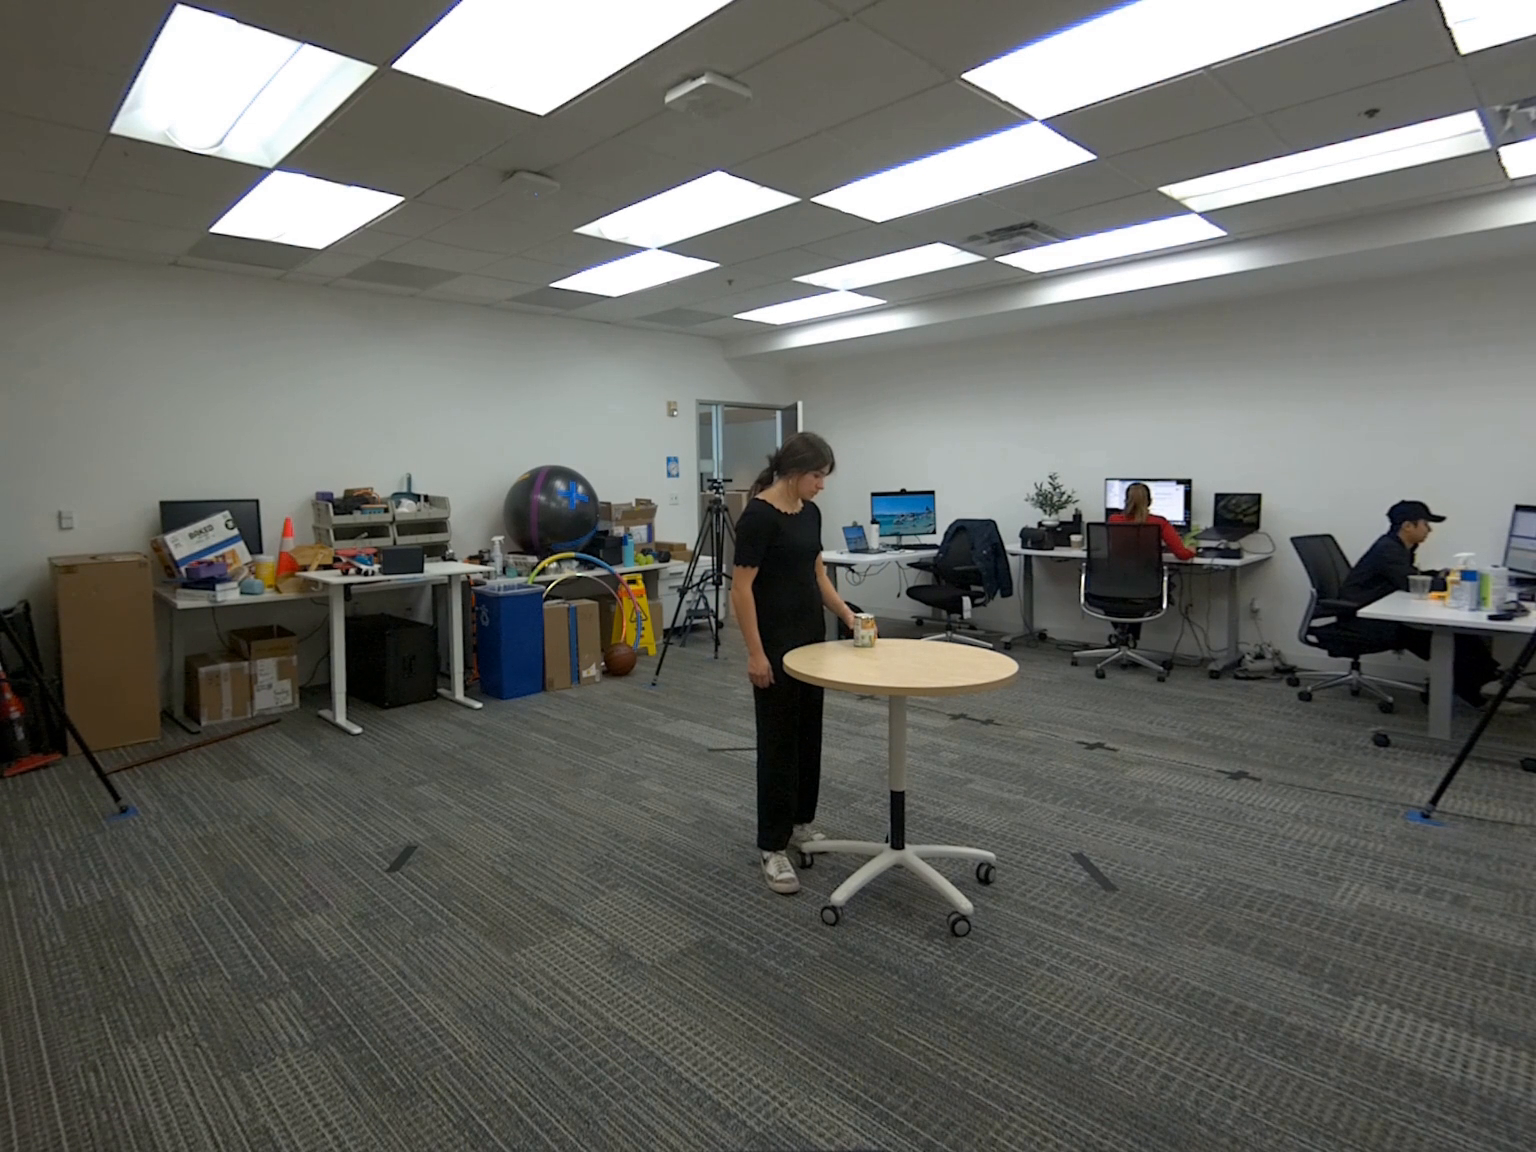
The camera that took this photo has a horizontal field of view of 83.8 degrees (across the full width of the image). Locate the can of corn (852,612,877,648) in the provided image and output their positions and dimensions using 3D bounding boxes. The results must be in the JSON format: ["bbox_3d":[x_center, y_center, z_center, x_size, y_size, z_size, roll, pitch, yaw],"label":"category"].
[{"bbox_3d":[0.343,0.198,3.100,0.074,0.111,0.074,0,3,-2],"label":"can of corn"}]
